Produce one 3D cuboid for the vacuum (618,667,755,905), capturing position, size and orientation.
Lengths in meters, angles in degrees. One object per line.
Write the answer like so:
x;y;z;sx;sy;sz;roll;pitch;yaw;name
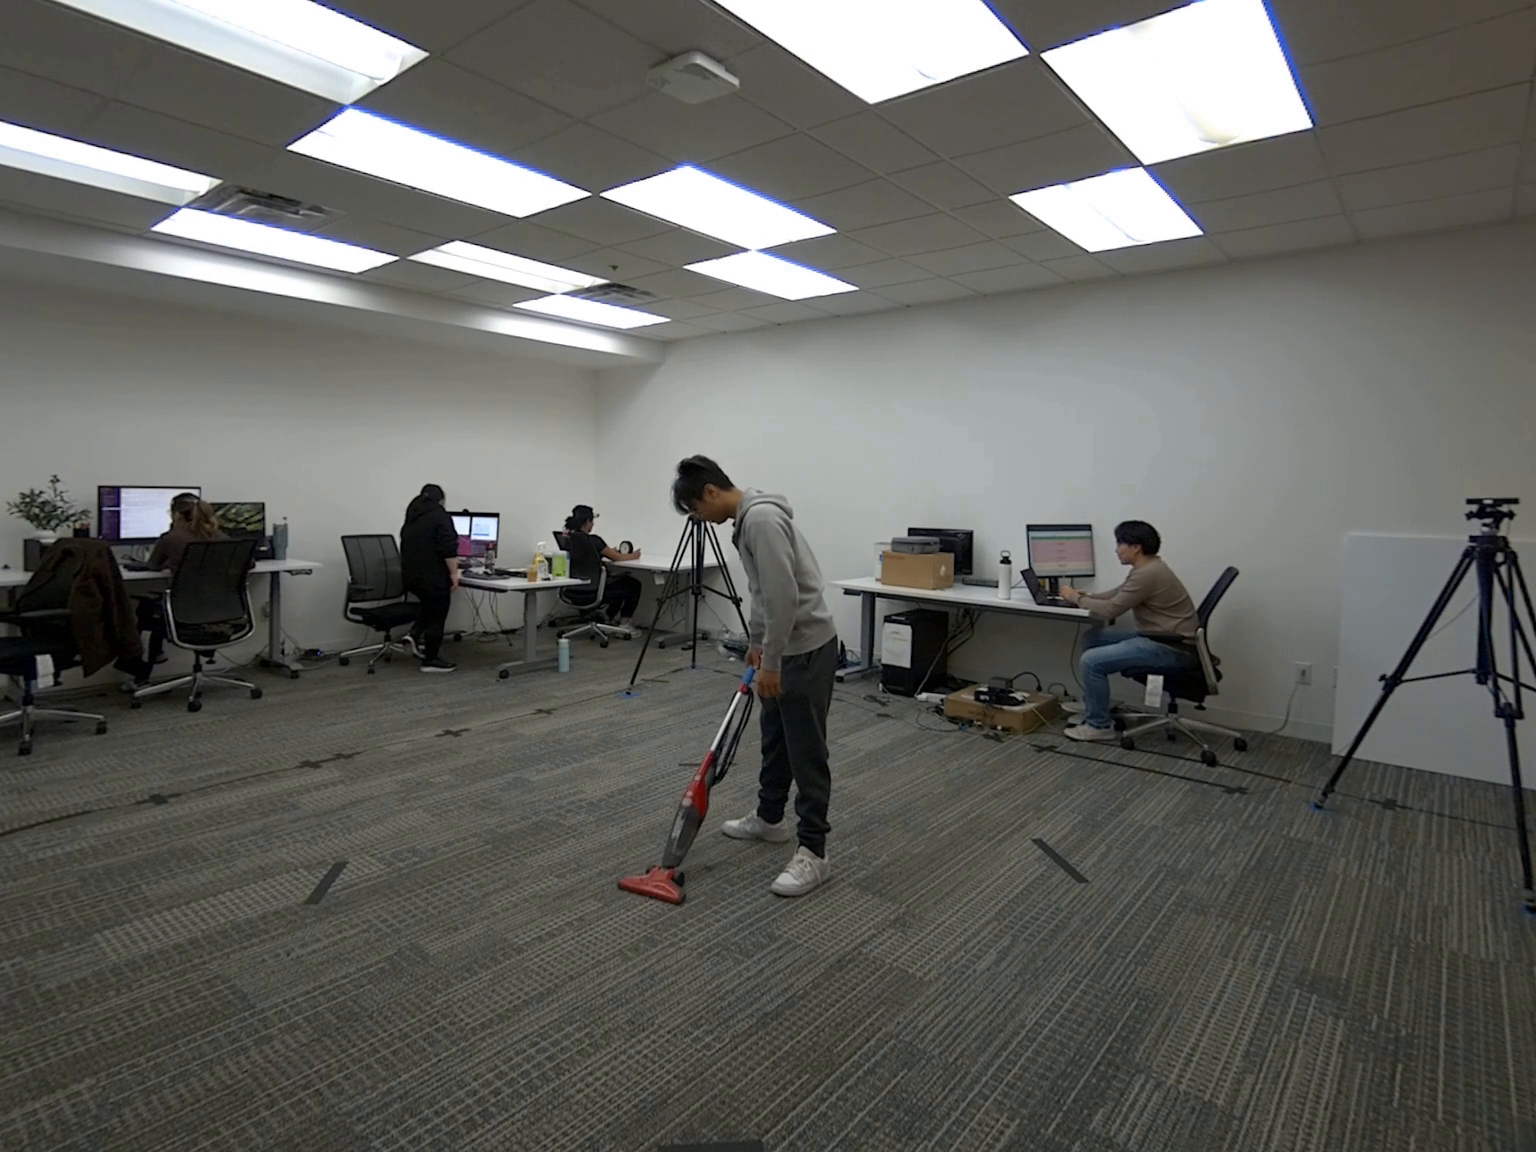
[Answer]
-0.216;0.720;3.274;0.259;0.139;1.059;4;43;23;vacuum
